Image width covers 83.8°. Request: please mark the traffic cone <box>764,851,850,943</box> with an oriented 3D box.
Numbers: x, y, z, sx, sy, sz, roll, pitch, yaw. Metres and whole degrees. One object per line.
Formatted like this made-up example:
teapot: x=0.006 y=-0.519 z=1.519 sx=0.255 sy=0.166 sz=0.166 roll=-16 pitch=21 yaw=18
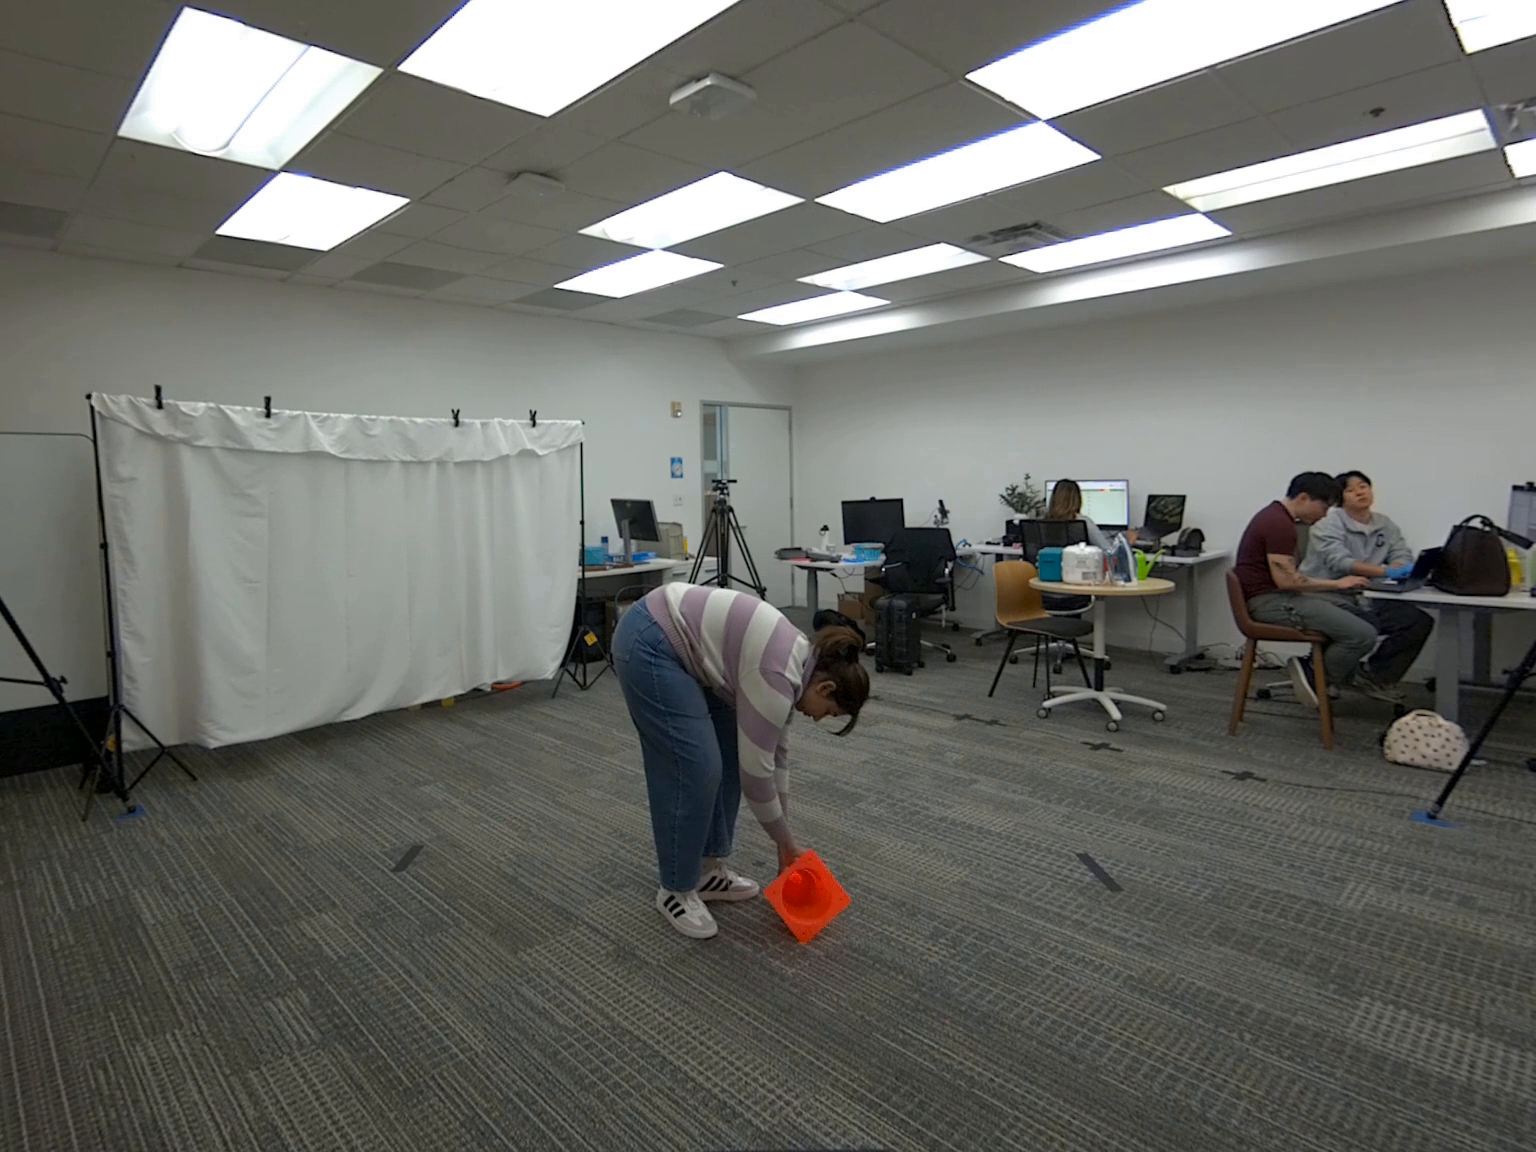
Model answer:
traffic cone: x=0.092 y=1.022 z=2.781 sx=0.202 sy=0.208 sz=0.380 roll=-33 pitch=-8 yaw=-13
